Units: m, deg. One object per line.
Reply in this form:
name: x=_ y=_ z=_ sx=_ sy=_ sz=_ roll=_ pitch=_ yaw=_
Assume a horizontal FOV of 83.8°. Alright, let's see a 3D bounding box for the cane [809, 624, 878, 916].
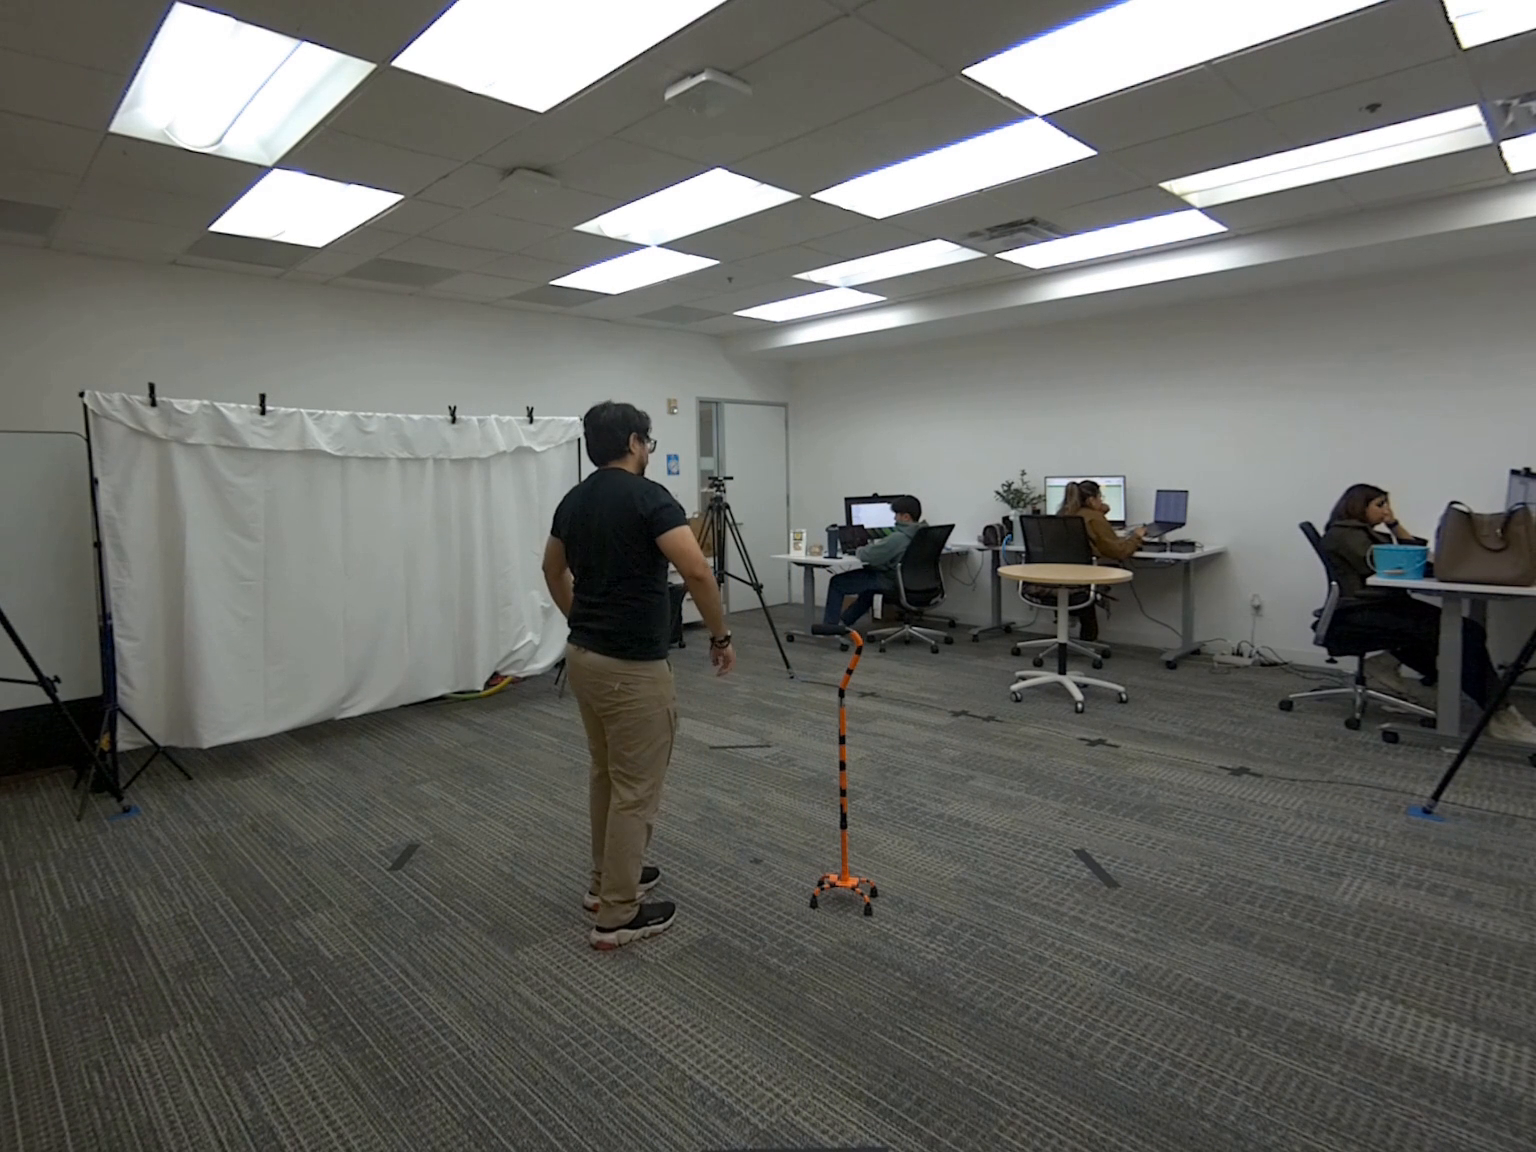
cane: x=0.248 y=0.615 z=2.770 sx=0.209 sy=0.905 sz=0.150 roll=0 pitch=4 yaw=15
